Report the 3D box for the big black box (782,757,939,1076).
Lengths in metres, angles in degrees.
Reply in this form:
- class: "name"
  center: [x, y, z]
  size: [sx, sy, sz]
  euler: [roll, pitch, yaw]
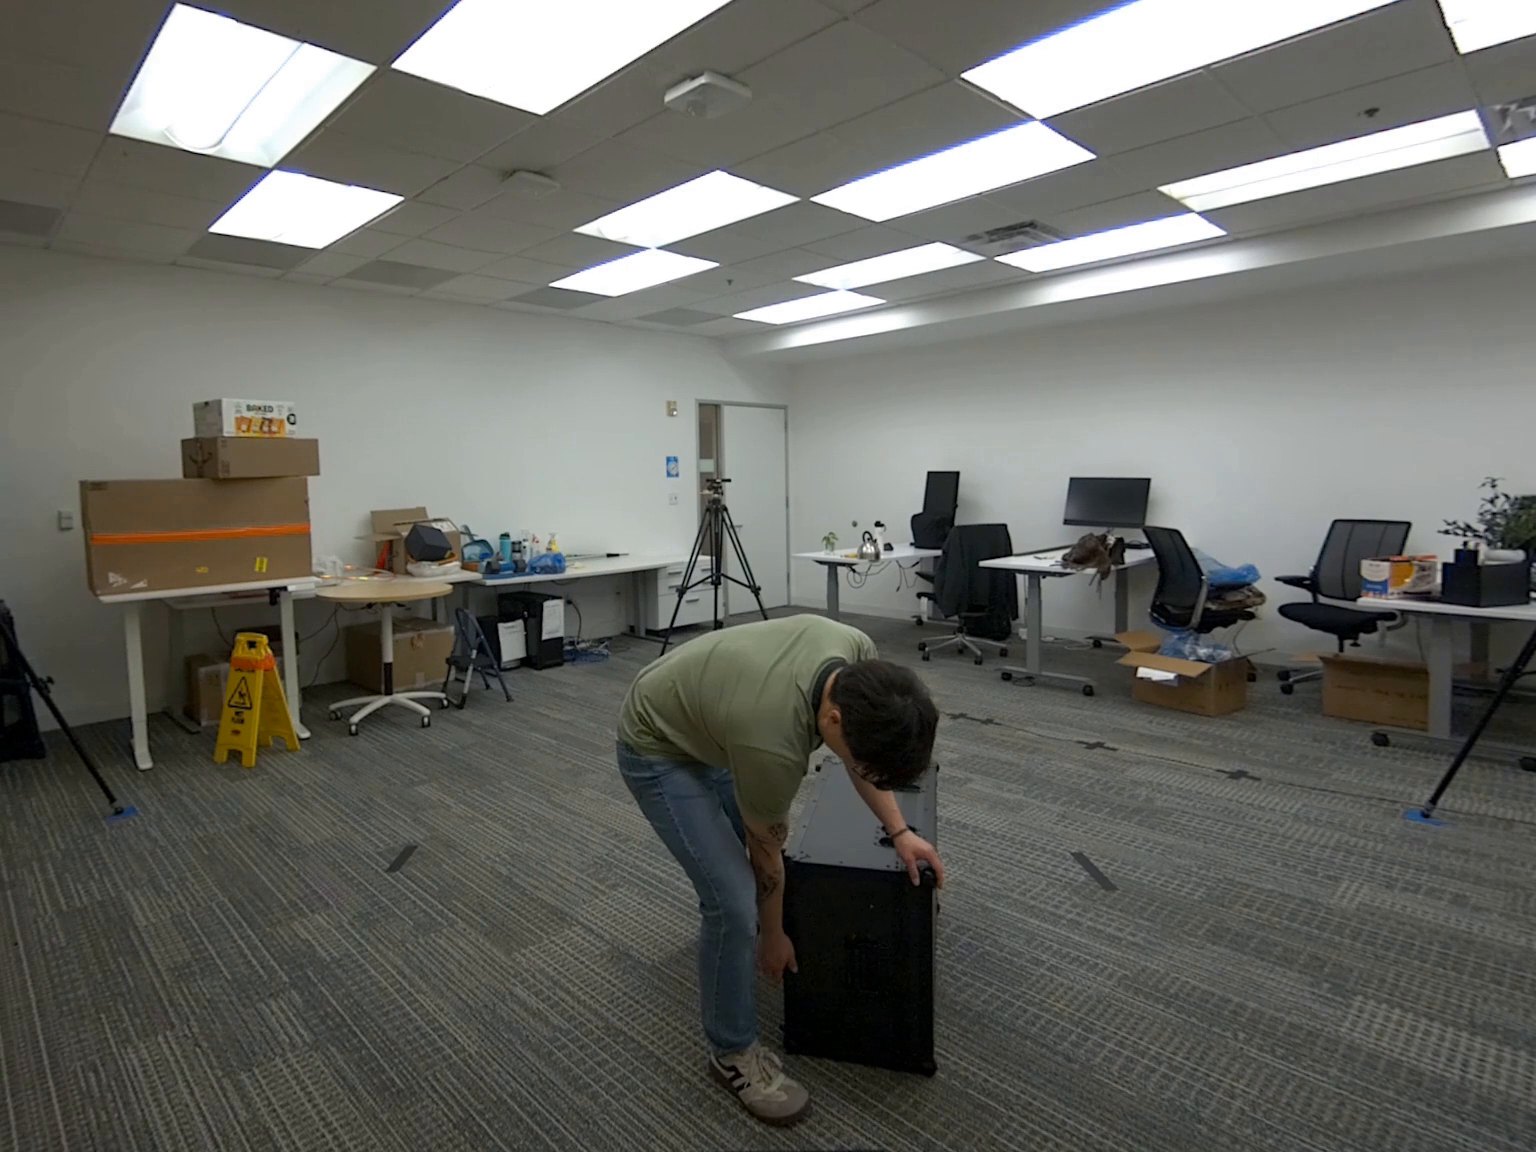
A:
- class: "big black box"
  center: [0.276, 0.874, 2.370]
  size: [0.401, 0.519, 0.855]
  euler: [0, 6, 11]
